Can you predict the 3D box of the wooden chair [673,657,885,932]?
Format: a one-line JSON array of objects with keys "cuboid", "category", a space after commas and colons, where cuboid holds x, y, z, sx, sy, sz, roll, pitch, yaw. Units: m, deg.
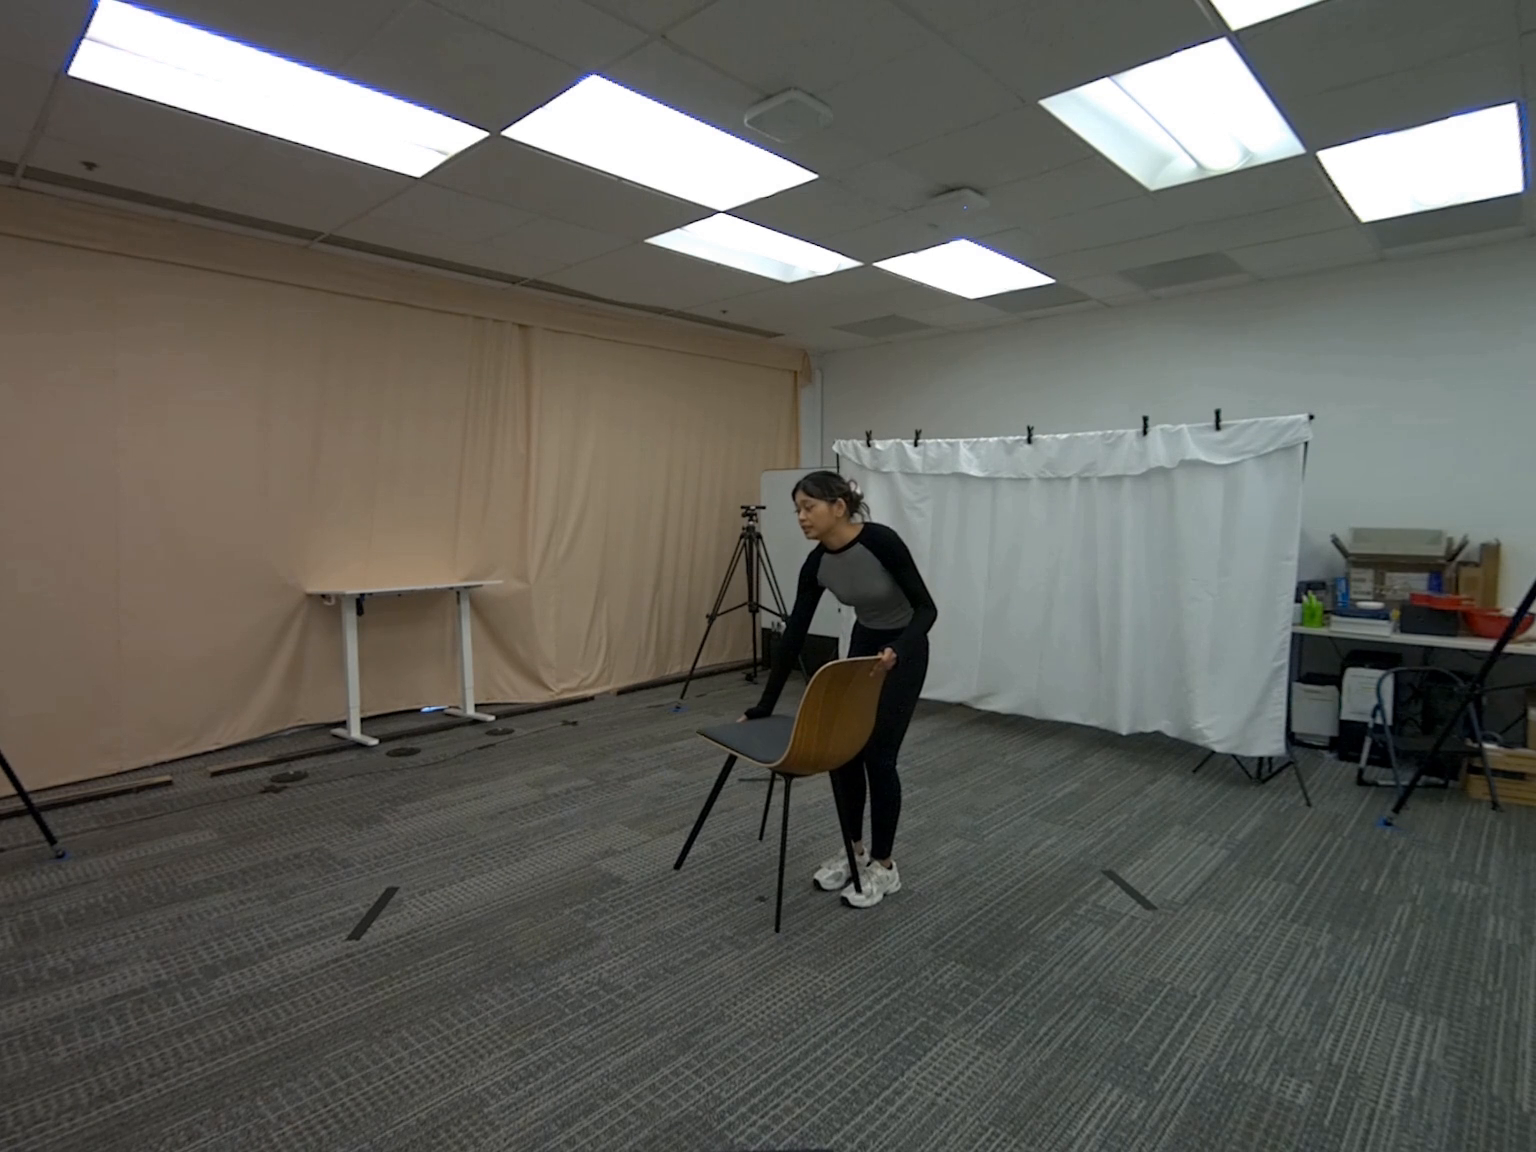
[{"cuboid": [0.054, 0.604, 2.770, 0.542, 0.874, 0.463, 19, 11, 40], "category": "wooden chair"}]
